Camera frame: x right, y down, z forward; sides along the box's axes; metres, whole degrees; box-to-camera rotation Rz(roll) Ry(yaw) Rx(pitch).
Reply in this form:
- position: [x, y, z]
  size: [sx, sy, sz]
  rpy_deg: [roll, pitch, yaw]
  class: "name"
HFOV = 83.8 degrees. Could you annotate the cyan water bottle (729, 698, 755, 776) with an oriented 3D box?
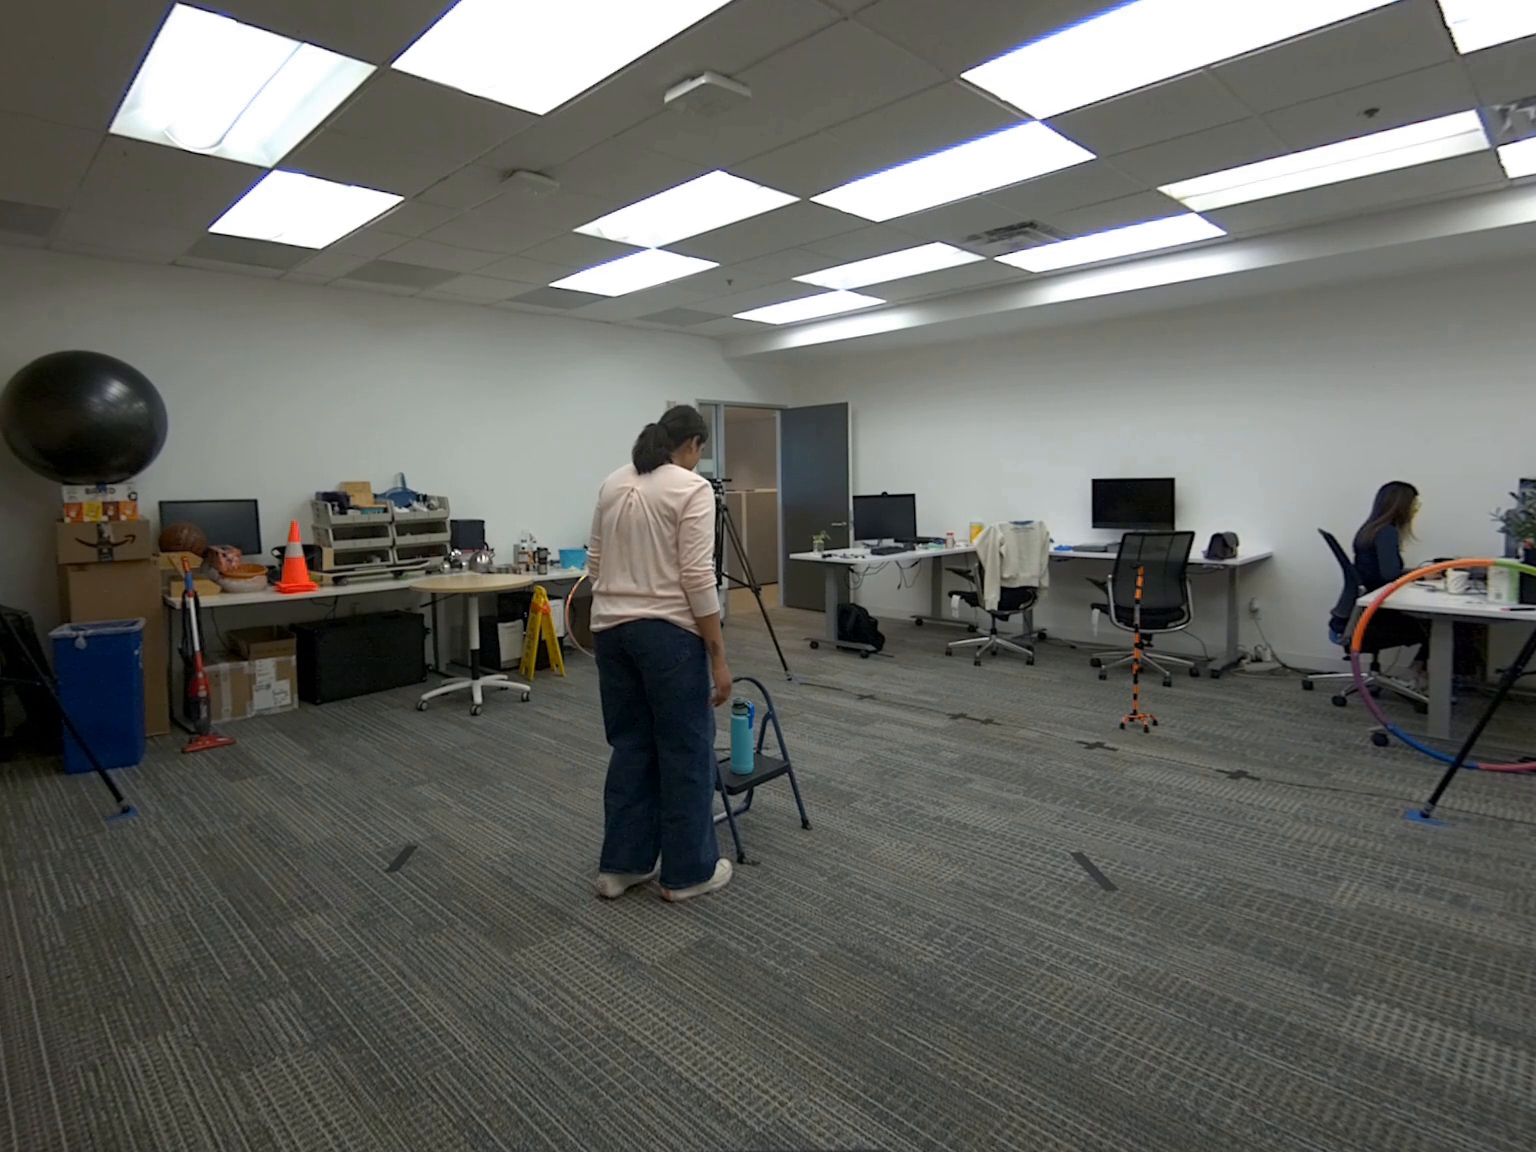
- position: [-0.100, 0.622, 3.320]
  size: [0.092, 0.282, 0.093]
  rpy_deg: [2, 6, -2]
  class: "cyan water bottle"
